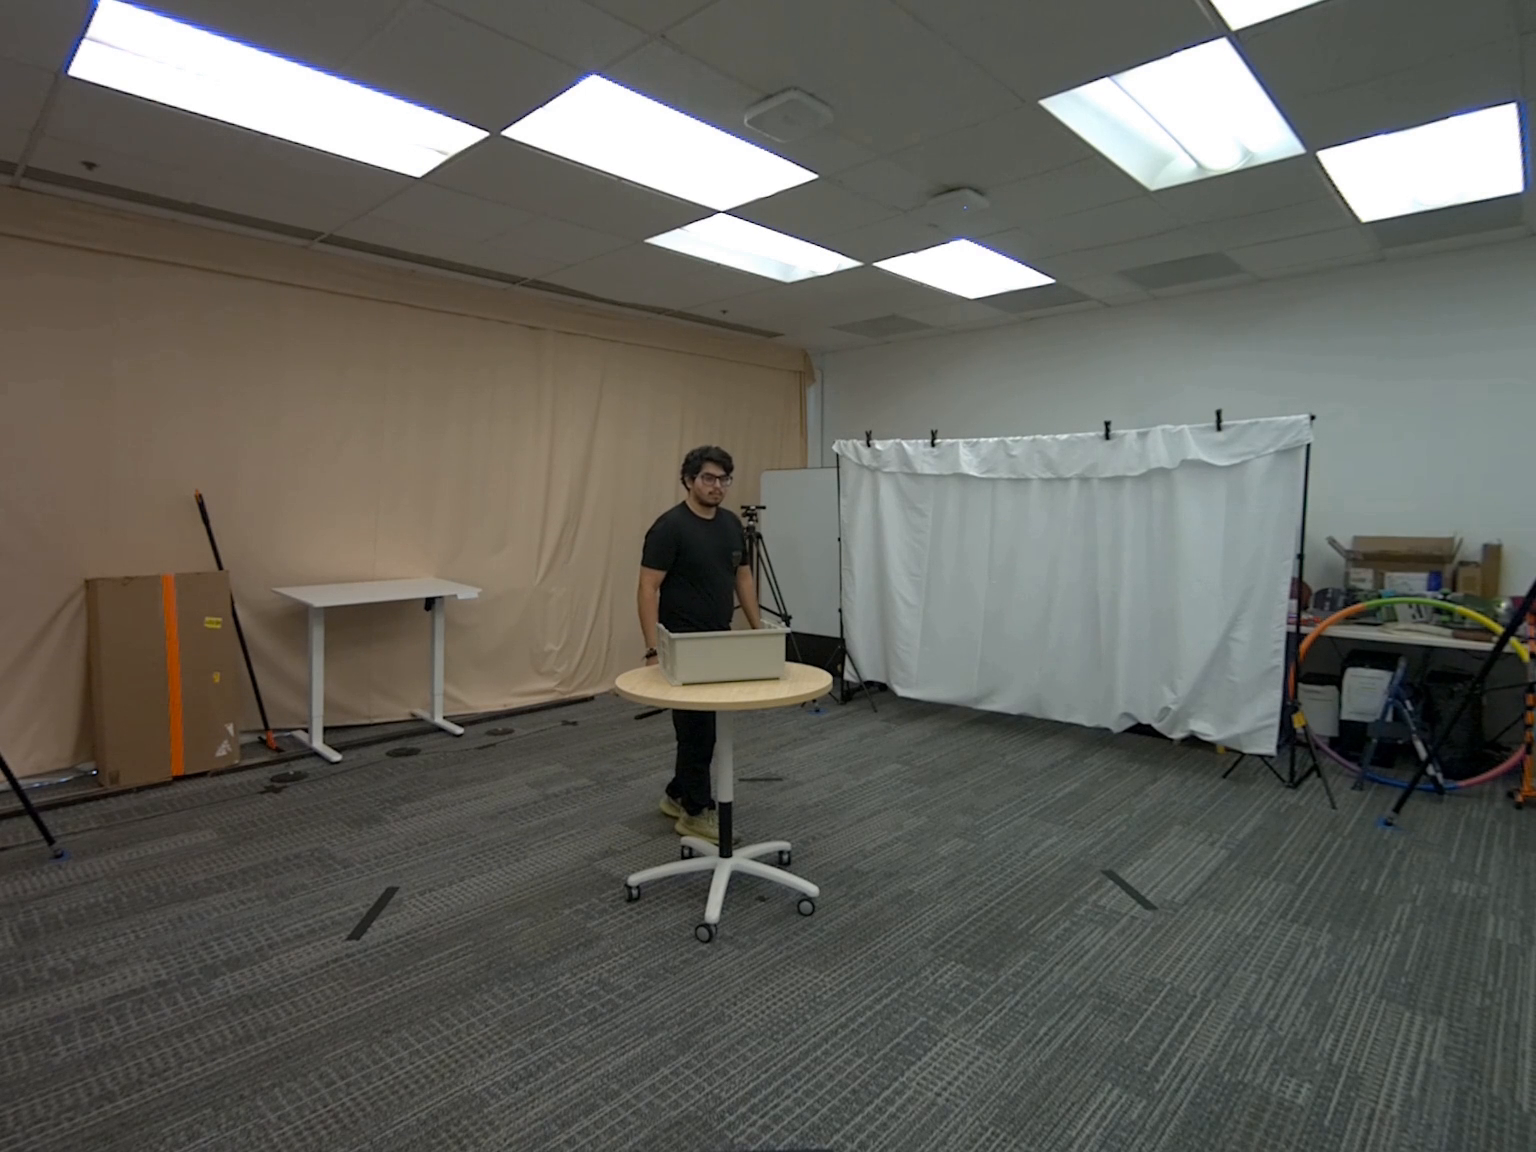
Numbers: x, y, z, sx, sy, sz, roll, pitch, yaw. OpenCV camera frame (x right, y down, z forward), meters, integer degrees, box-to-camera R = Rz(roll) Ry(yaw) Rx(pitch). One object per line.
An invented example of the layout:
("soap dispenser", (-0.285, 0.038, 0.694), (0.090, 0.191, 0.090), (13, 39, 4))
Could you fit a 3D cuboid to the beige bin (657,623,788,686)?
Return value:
("beige bin", (-0.175, 0.263, 3.057), (0.416, 0.188, 0.384), (-1, 5, -15))
